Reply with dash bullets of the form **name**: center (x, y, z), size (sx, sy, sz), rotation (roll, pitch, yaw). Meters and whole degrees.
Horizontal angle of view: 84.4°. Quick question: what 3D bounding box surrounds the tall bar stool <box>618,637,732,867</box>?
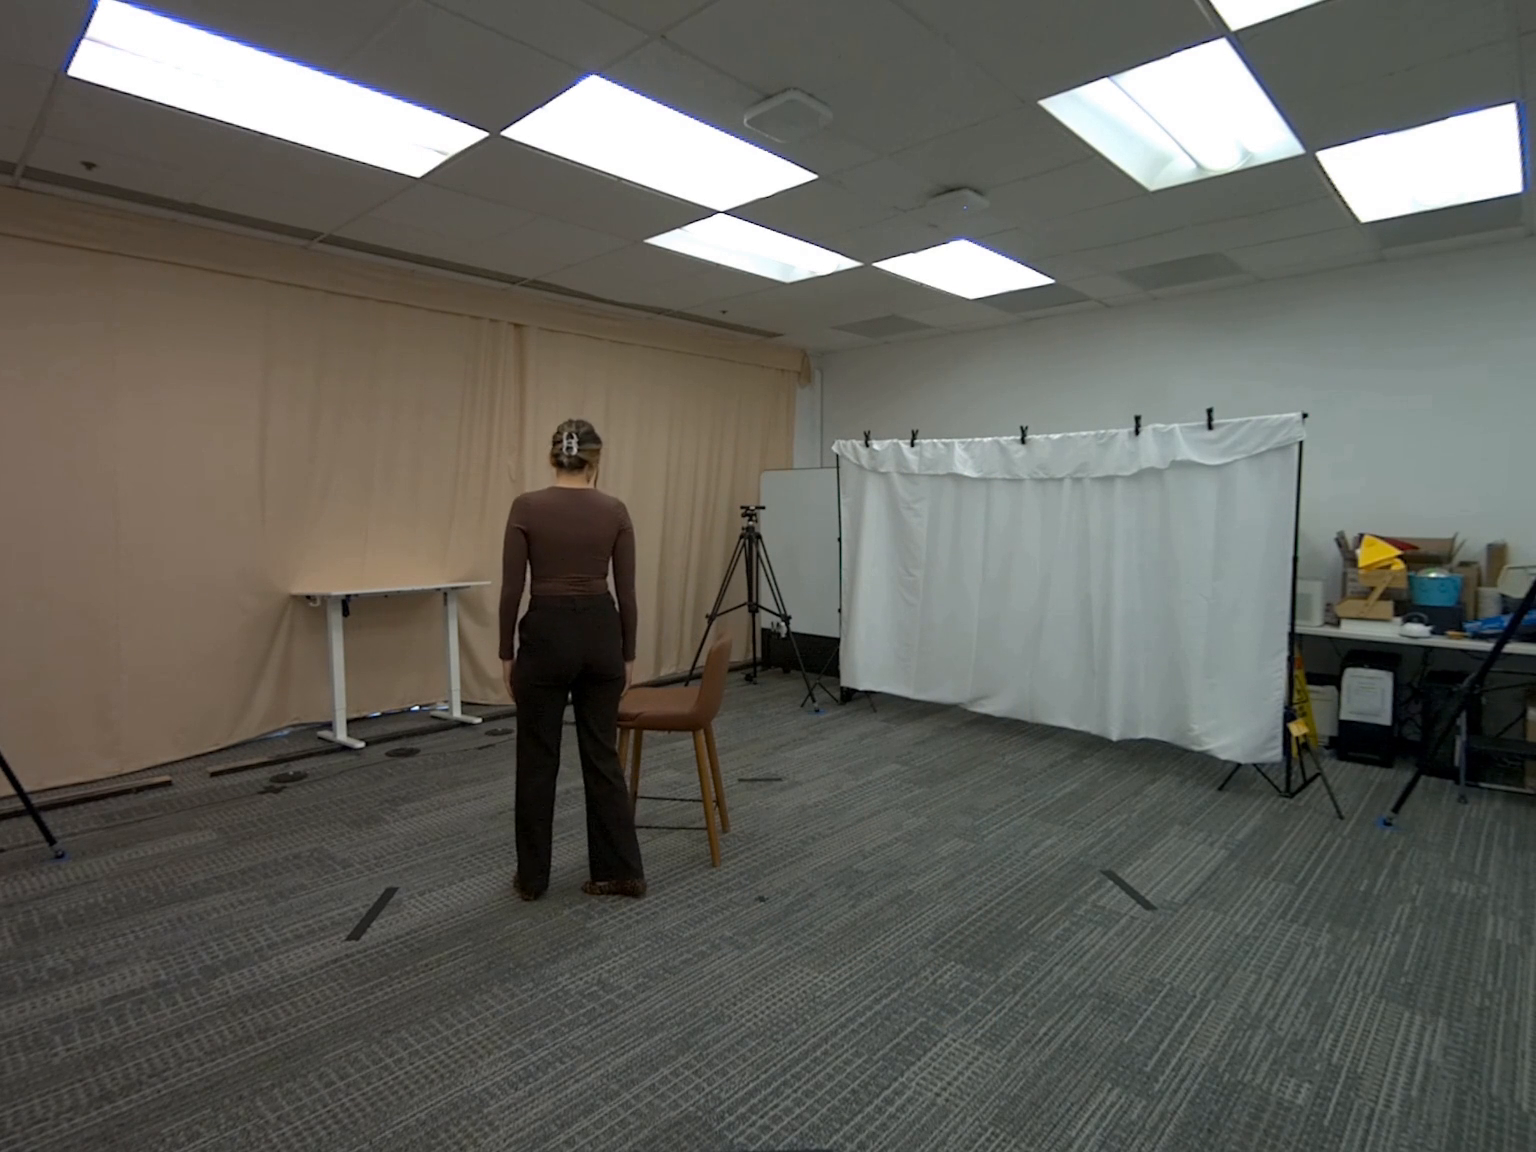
- **tall bar stool**: center (-0.398, 0.676, 3.438), size (0.471, 0.888, 0.454), rotation (1, 3, 6)
